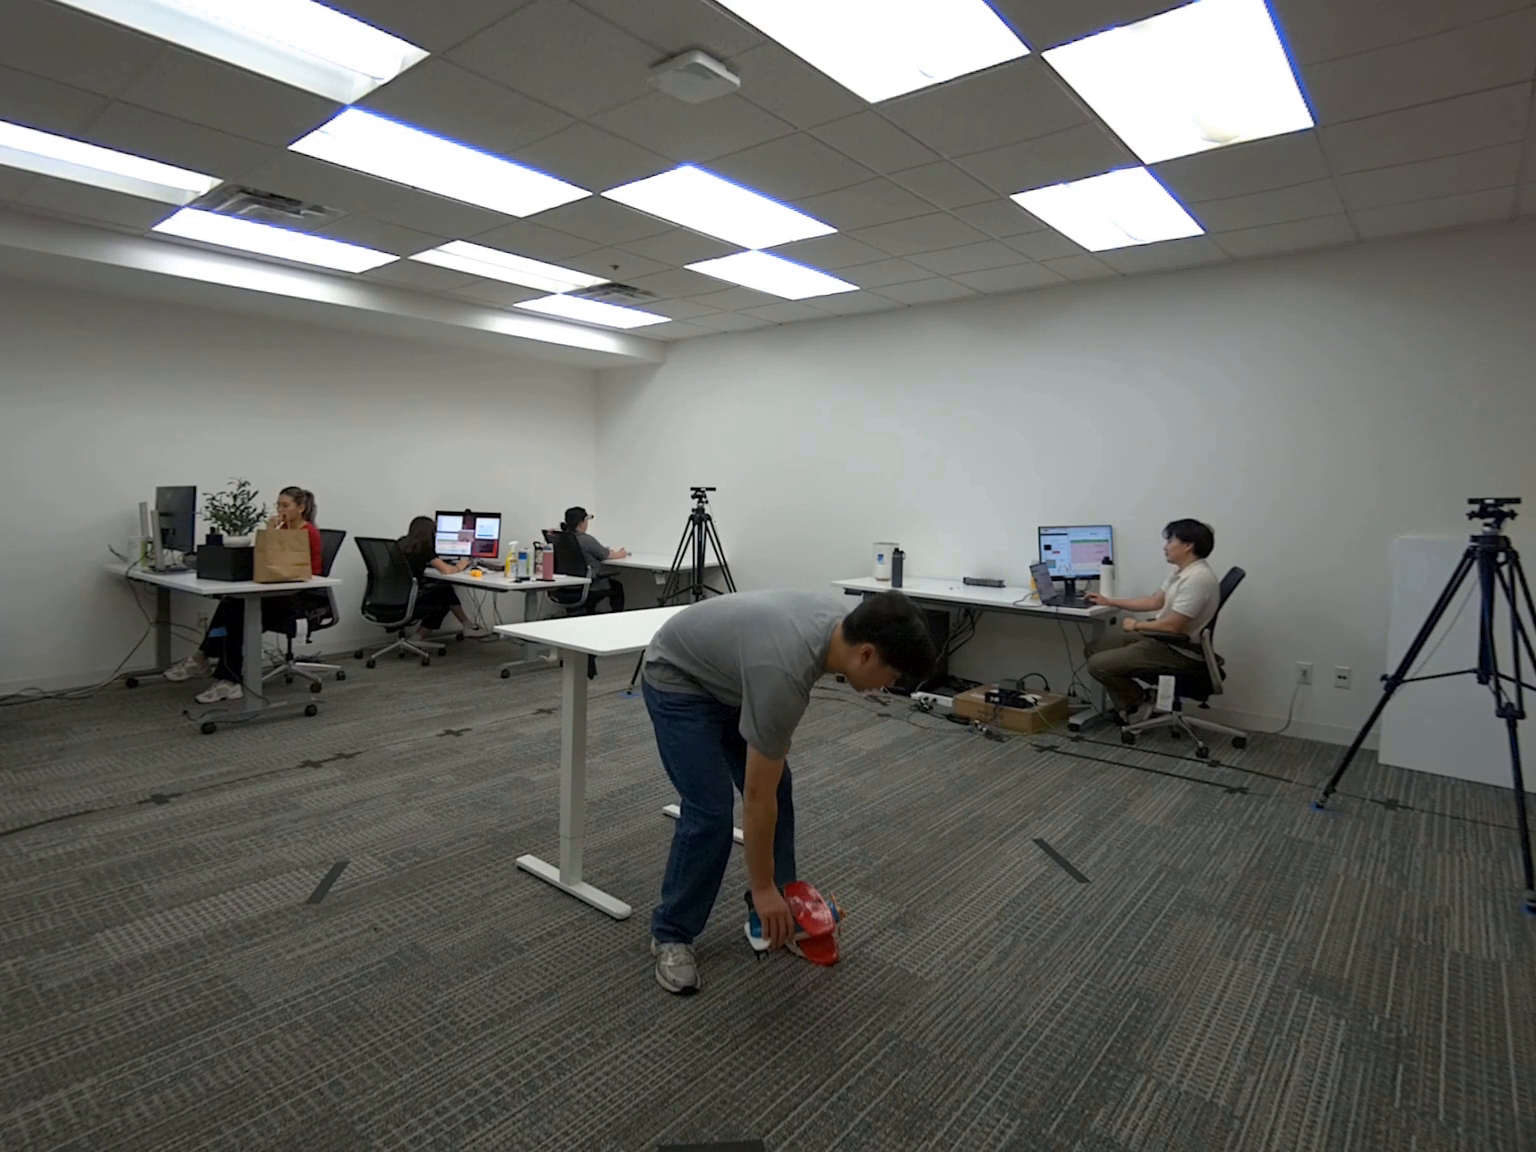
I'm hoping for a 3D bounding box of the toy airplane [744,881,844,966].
[{"bbox_3d":[0.079,0.928,2.259,0.250,0.156,0.260,3,7,-44],"label":"toy airplane"}]
